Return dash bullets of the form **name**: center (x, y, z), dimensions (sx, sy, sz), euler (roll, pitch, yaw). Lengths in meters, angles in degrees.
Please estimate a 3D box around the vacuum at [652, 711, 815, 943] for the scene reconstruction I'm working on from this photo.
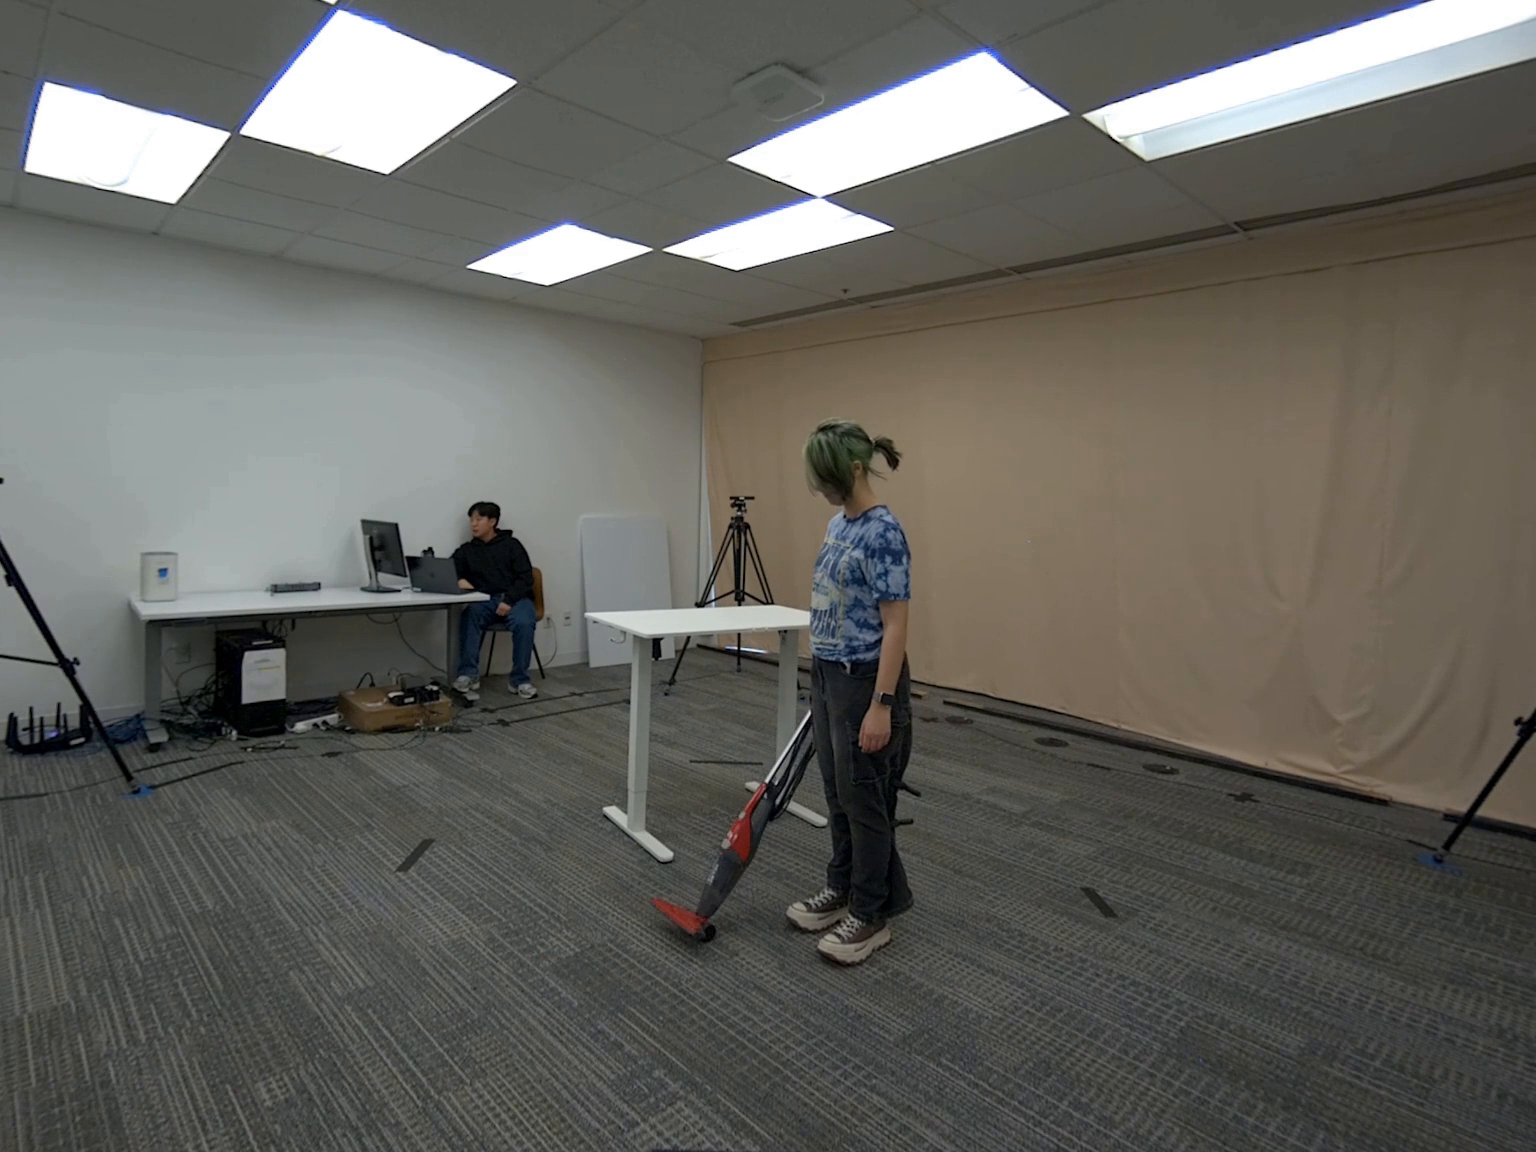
- **vacuum**: center (0.010, 0.727, 2.835), dimensions (0.259, 1.051, 0.140), euler (10, -34, 50)
